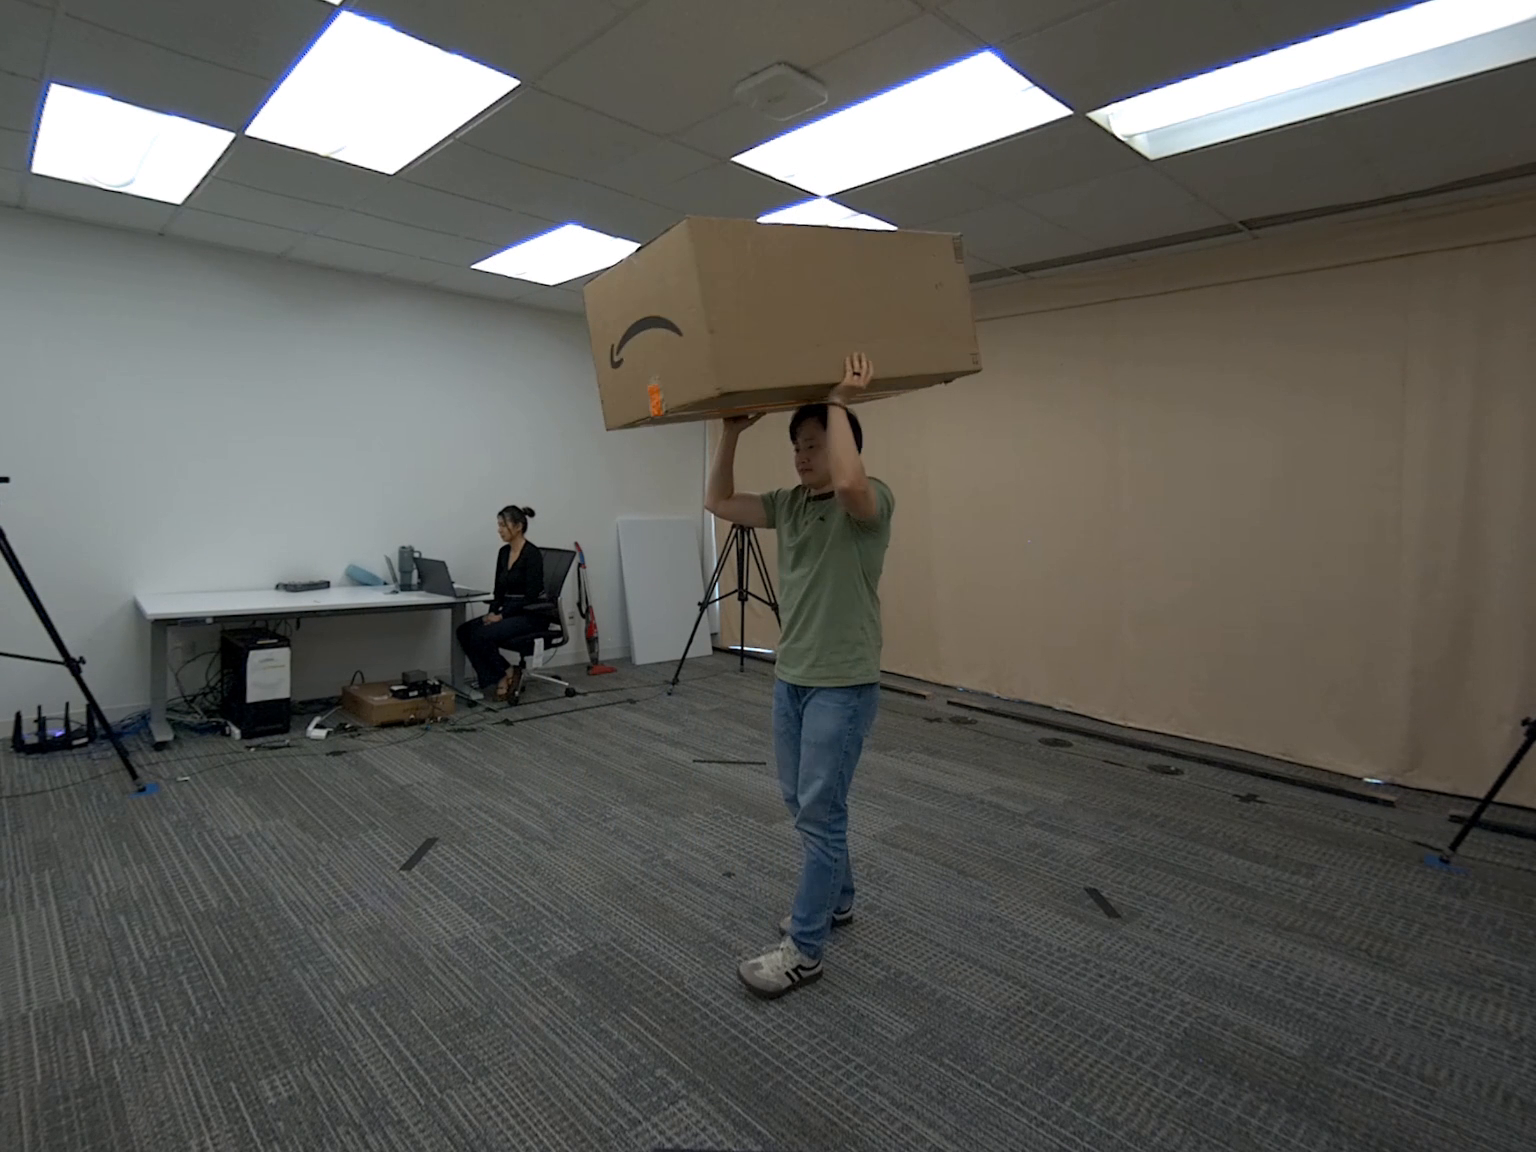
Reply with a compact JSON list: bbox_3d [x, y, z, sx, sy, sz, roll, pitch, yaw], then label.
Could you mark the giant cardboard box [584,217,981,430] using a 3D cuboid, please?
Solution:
[{"bbox_3d":[0.057,-0.726,2.505,1.008,0.424,0.590,-14,7,-37],"label":"giant cardboard box"}]
